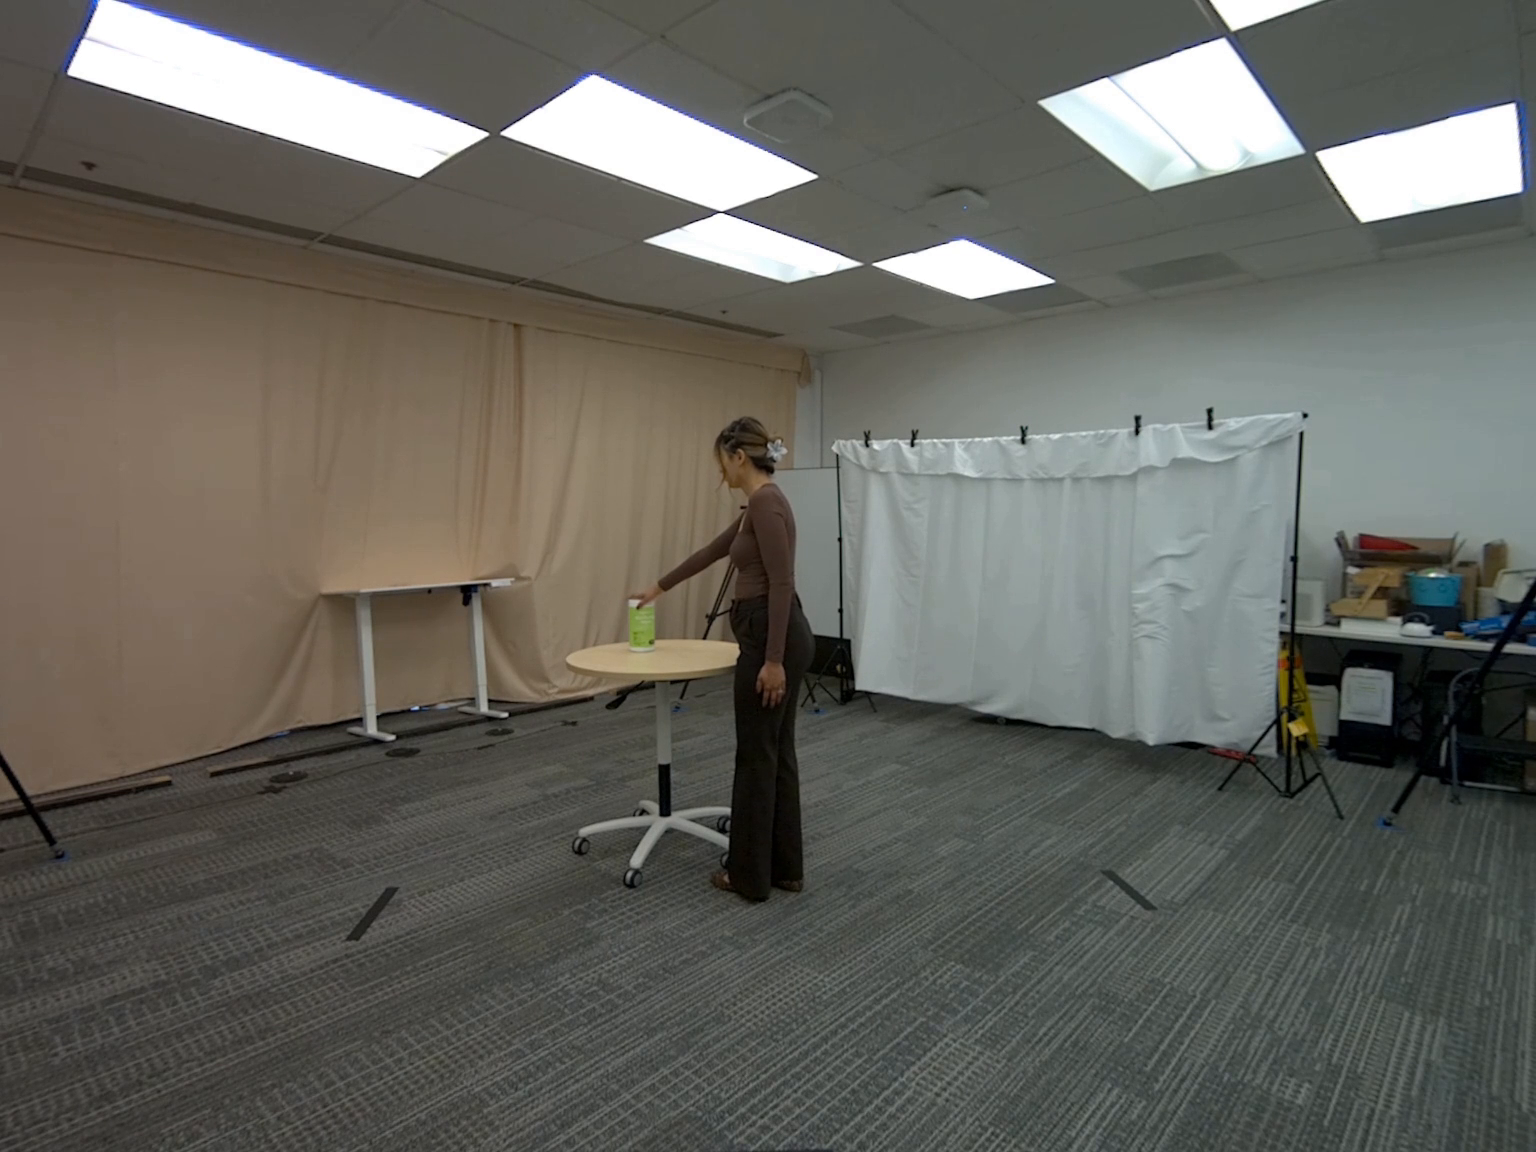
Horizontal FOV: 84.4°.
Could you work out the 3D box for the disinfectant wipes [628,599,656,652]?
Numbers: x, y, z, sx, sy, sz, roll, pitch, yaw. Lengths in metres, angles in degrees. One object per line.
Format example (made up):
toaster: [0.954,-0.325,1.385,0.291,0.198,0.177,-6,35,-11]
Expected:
disinfectant wipes: [-0.524,0.203,3.496,0.117,0.217,0.118,1,4,-2]
